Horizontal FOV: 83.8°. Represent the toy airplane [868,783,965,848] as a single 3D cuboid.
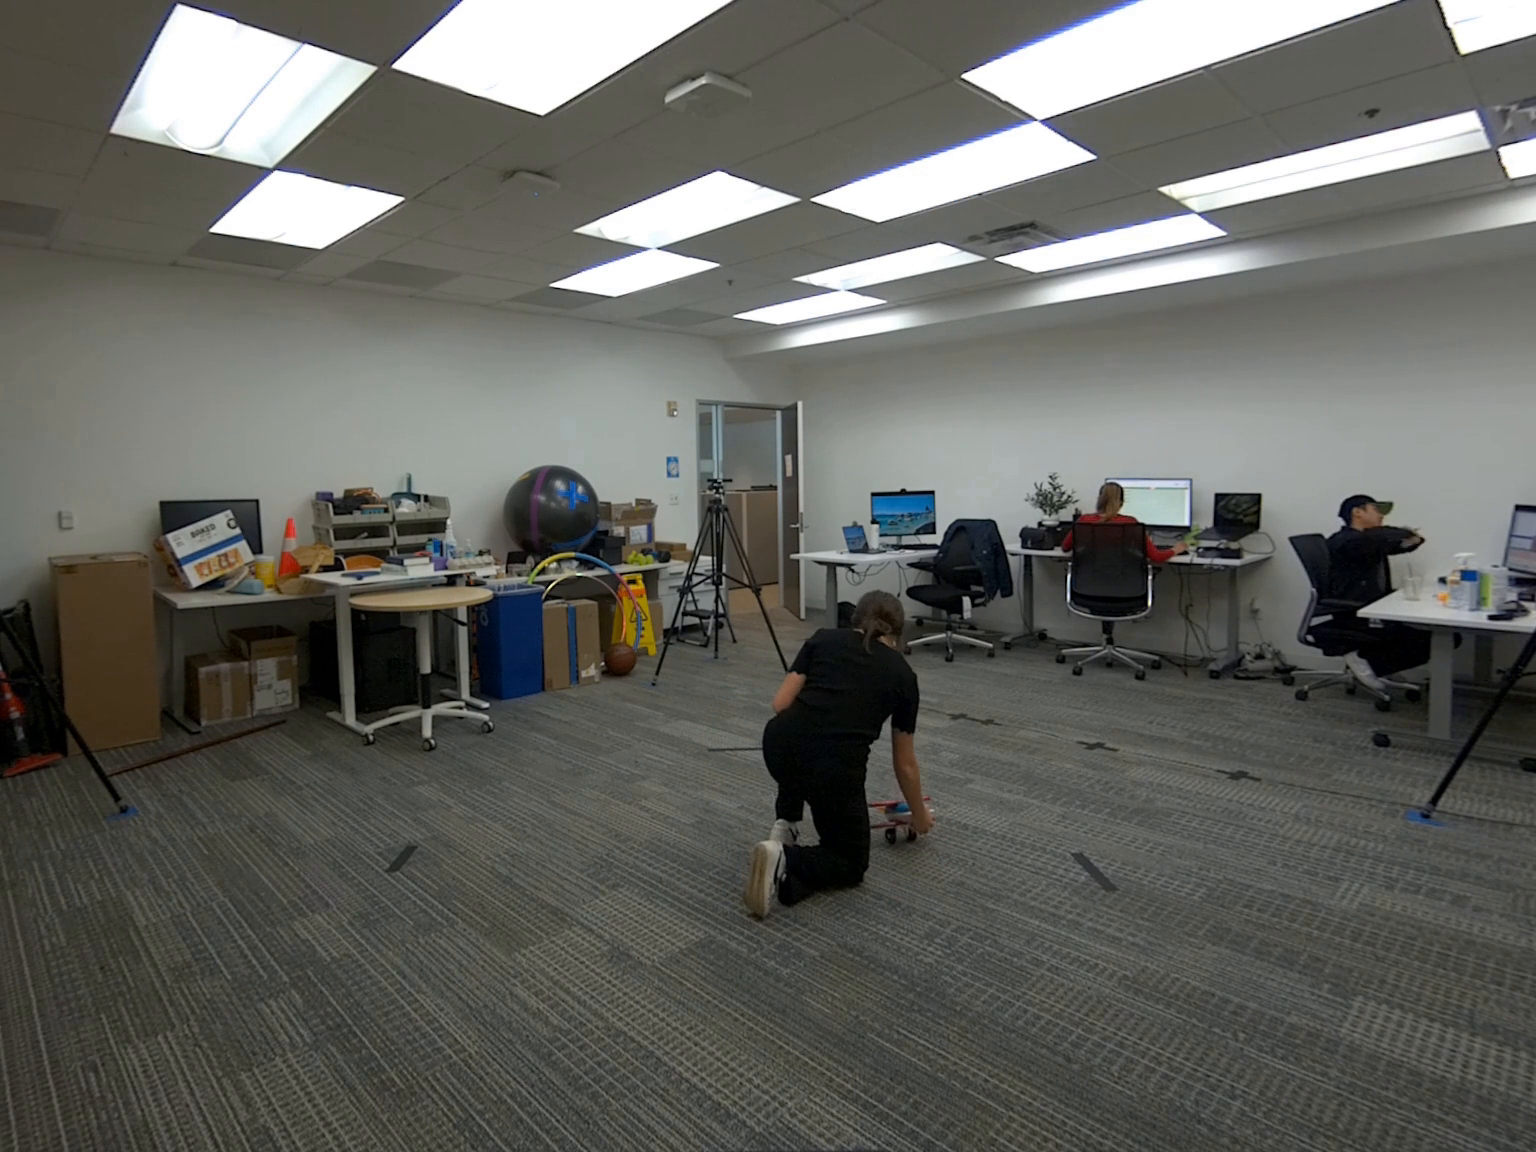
[{"bbox_3d":[0.541,0.905,3.237,0.242,0.161,0.261,16,-40,-40],"label":"toy airplane"}]
